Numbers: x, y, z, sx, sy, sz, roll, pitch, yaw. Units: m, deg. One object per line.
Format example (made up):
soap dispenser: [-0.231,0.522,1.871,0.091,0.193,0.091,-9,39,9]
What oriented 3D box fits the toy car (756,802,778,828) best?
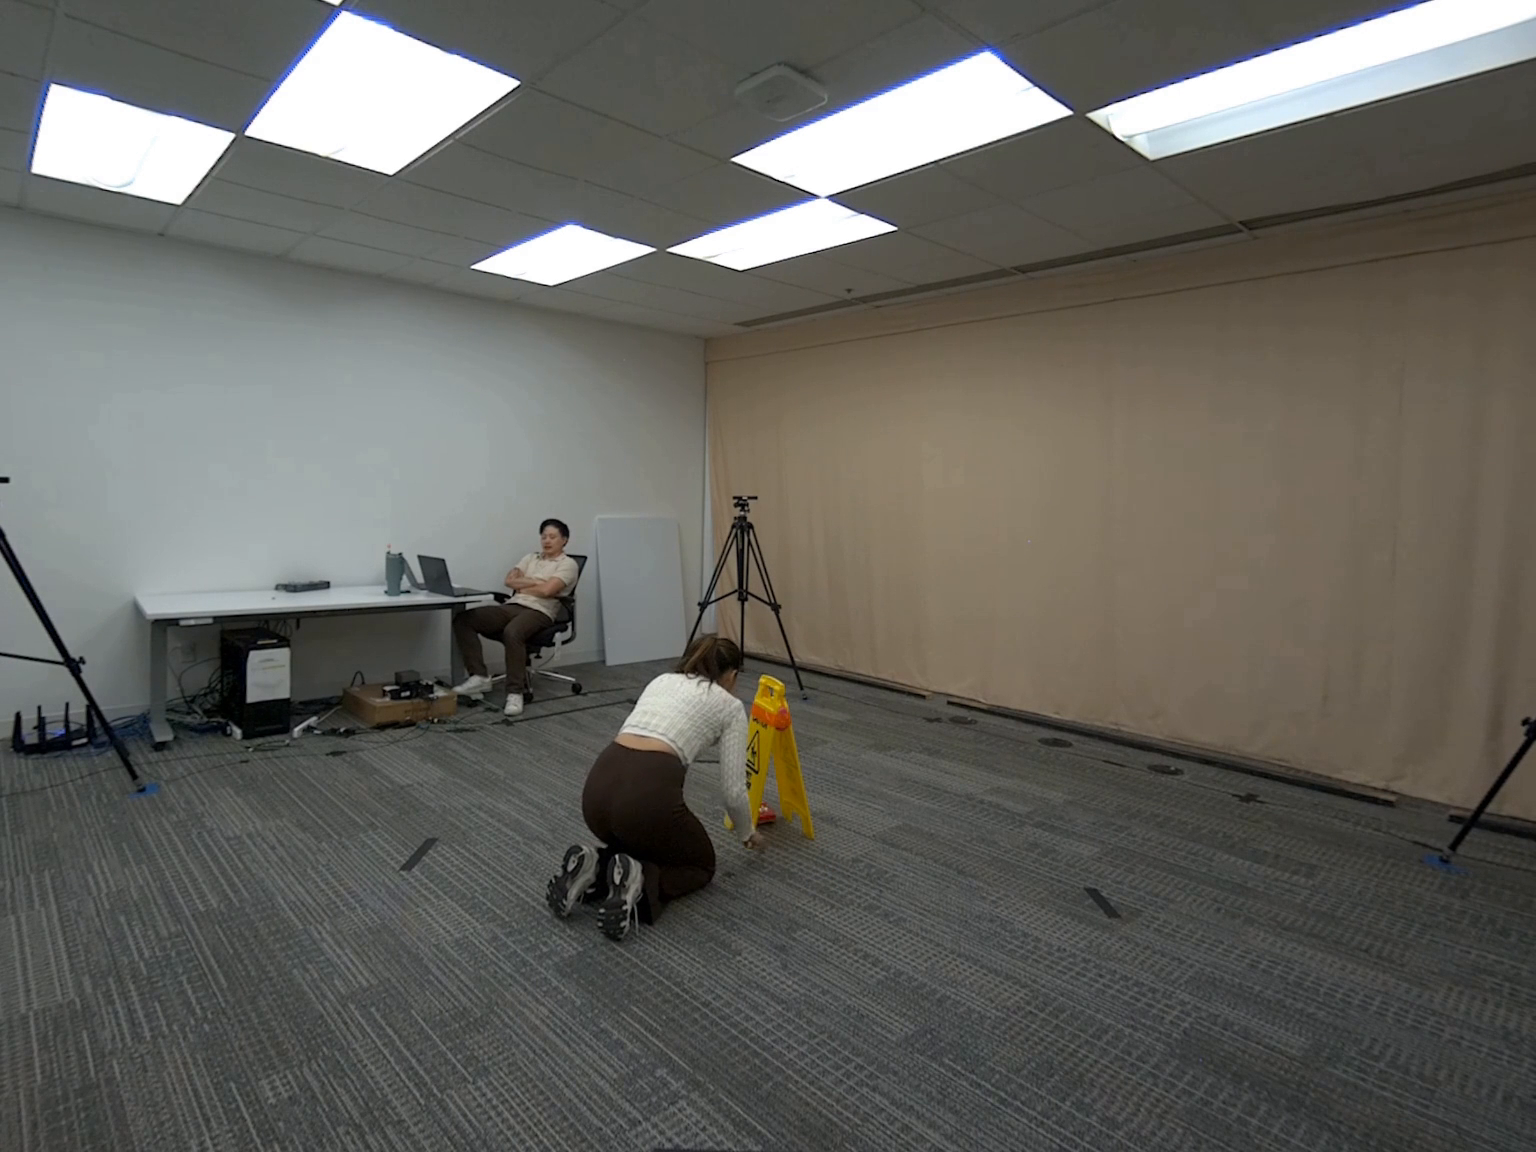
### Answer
toy car: [-0.055,1.023,3.652,0.128,0.083,0.258,2,-5,-23]
